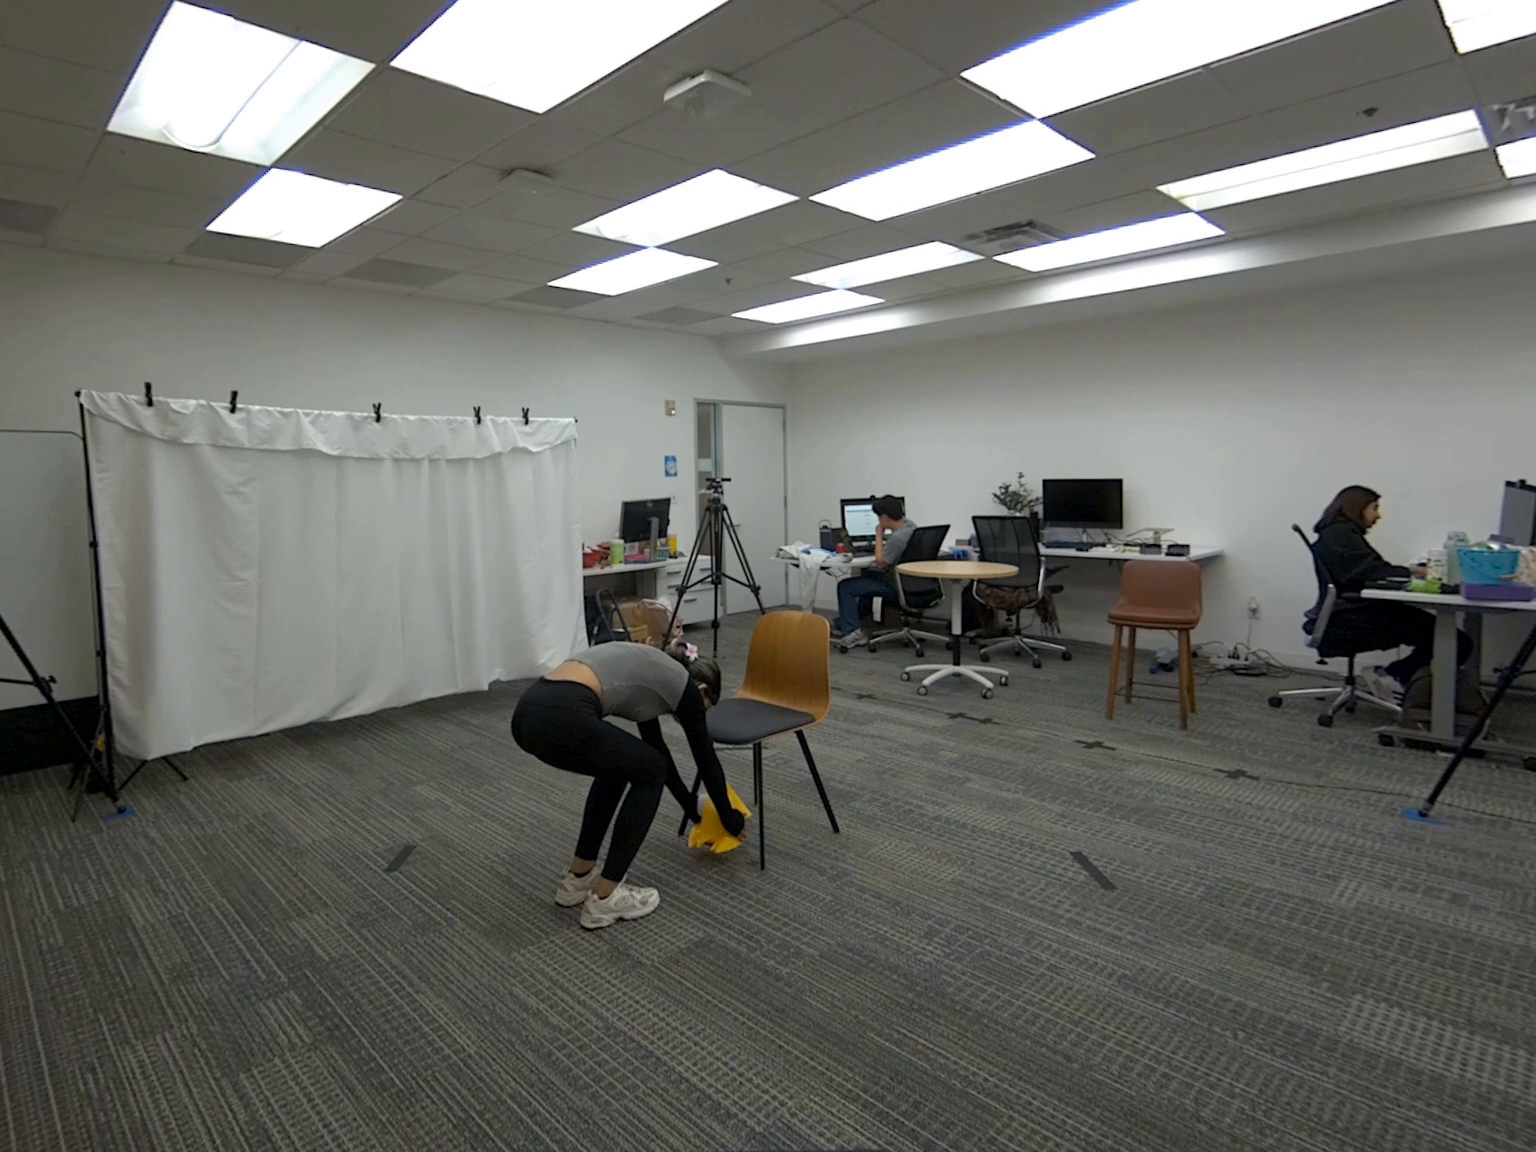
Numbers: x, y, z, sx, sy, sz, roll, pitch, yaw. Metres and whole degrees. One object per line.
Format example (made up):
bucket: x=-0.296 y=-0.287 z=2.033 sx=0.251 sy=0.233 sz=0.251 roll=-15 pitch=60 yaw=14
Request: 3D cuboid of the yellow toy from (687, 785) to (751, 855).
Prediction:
yellow toy: x=-0.195 y=0.872 z=3.160 sx=0.210 sy=0.230 sz=0.188 roll=-4 pitch=3 yaw=36
